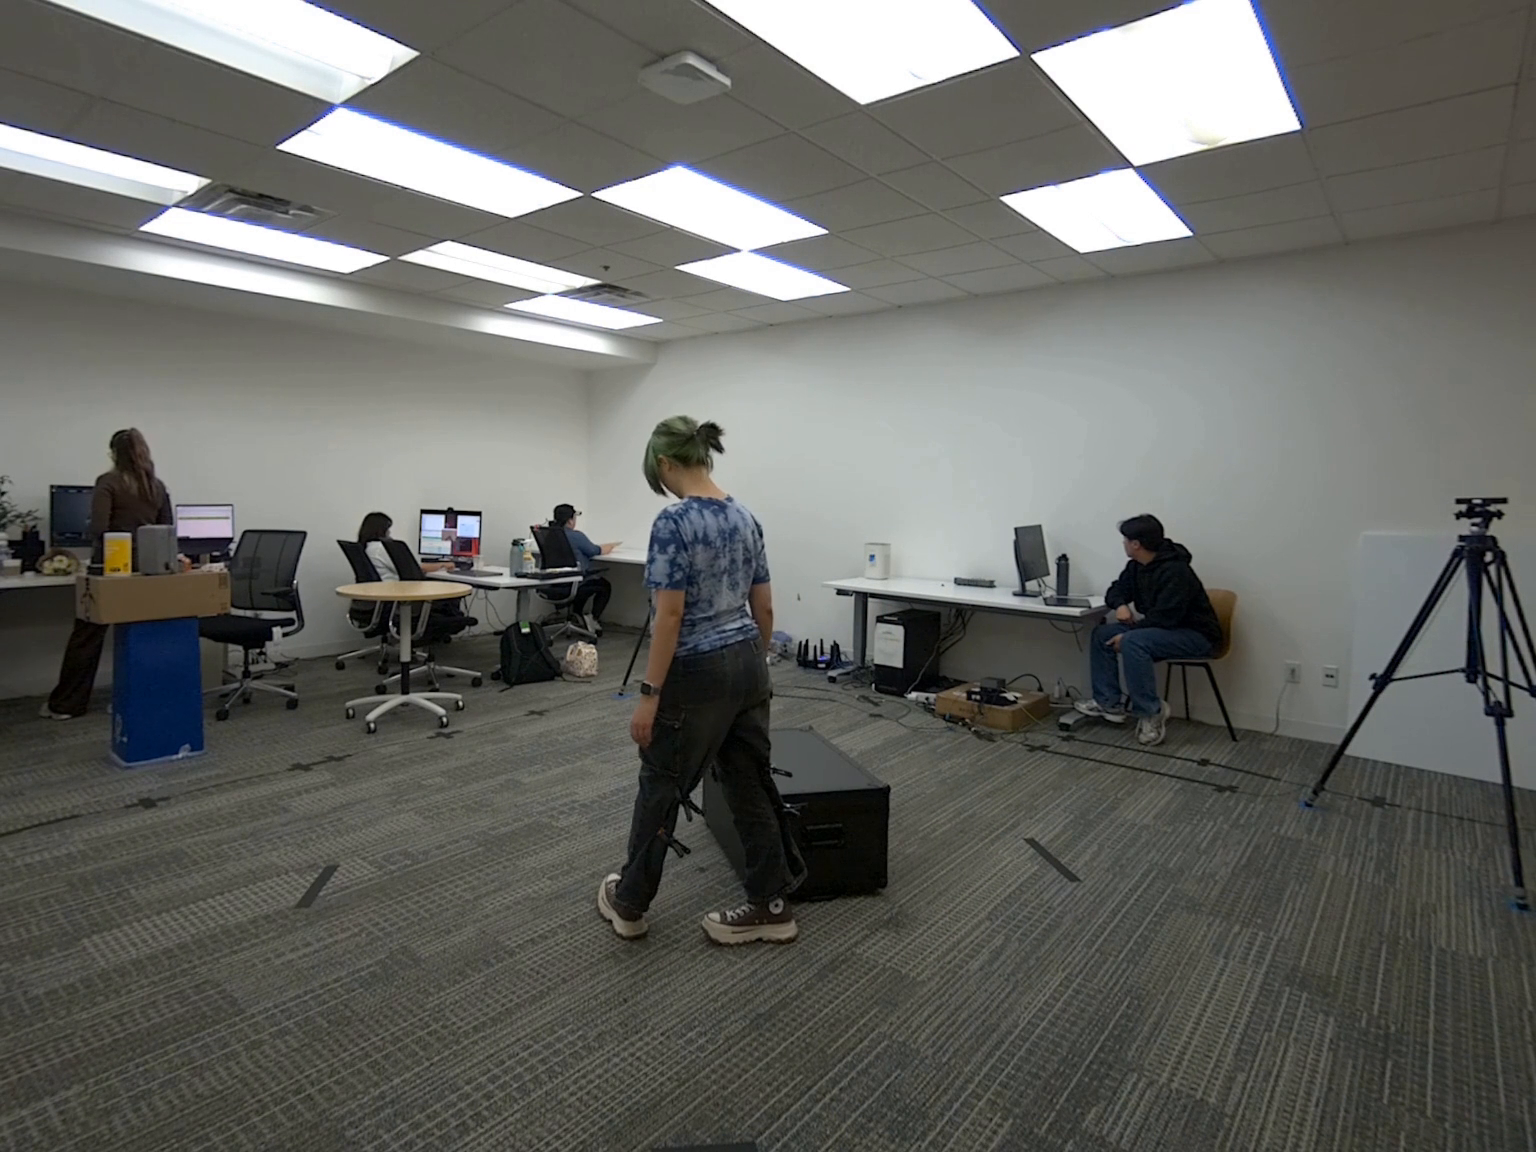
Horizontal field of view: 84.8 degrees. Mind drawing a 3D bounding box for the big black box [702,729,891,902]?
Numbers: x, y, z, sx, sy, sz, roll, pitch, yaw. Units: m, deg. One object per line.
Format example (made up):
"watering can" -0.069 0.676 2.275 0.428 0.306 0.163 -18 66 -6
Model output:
"big black box" 0.073 0.872 3.217 0.512 0.395 0.880 -1 5 -18
